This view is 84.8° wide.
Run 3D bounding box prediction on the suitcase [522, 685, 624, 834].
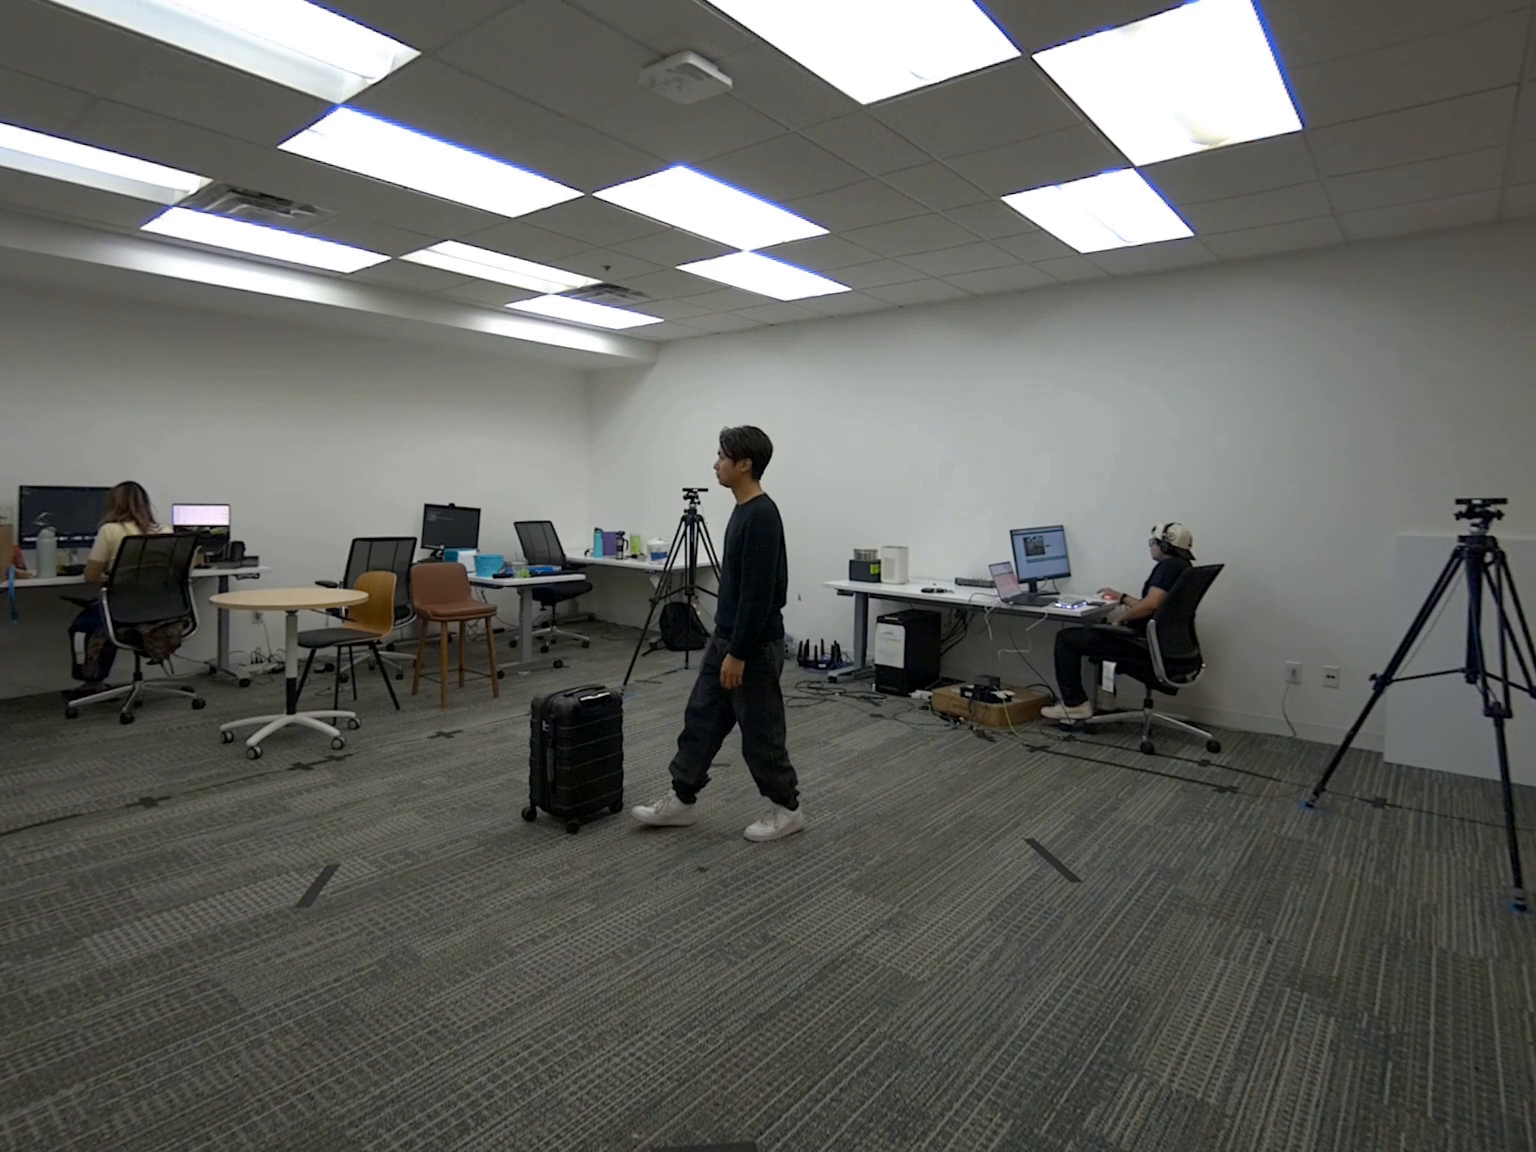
[{"bbox_3d":[-0.824,0.738,3.595,0.256,0.548,0.364,3,4,39],"label":"suitcase"}]
